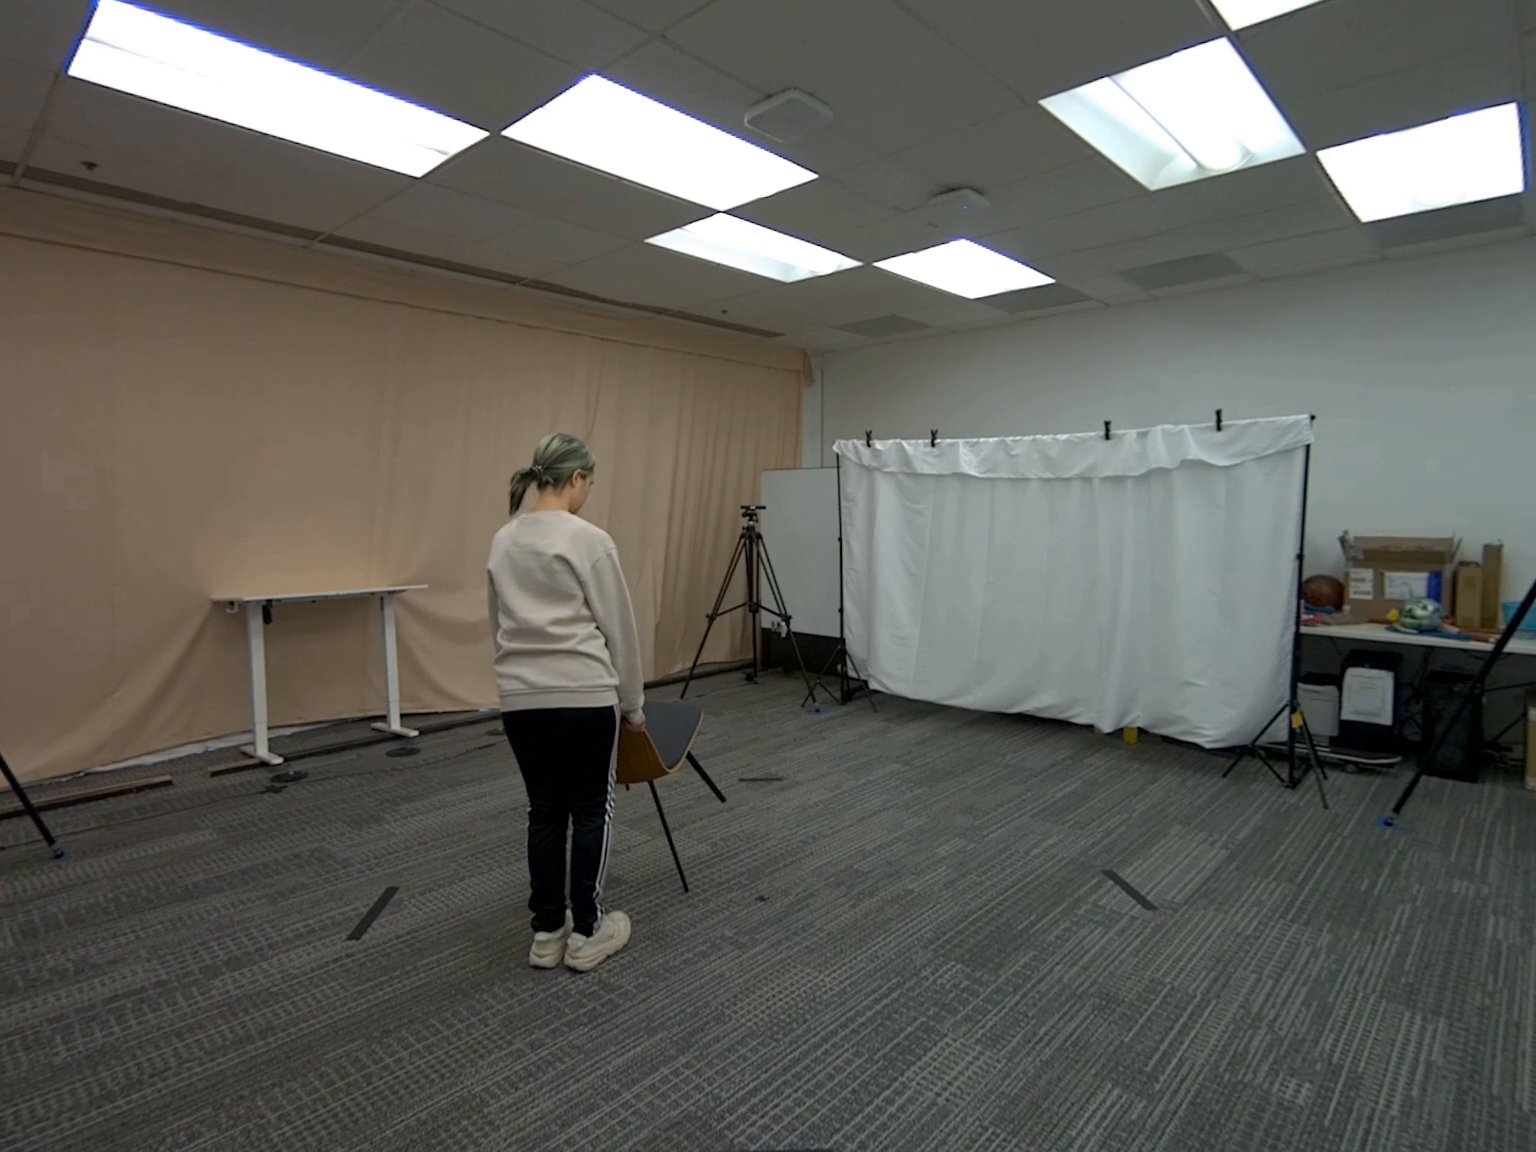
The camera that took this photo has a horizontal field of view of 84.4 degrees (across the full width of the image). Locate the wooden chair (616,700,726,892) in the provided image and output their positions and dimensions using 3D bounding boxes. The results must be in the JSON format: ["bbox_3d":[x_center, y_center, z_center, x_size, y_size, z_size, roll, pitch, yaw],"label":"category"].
[{"bbox_3d":[-0.500,0.652,3.106,0.488,0.858,0.524,1,34,20],"label":"wooden chair"}]
